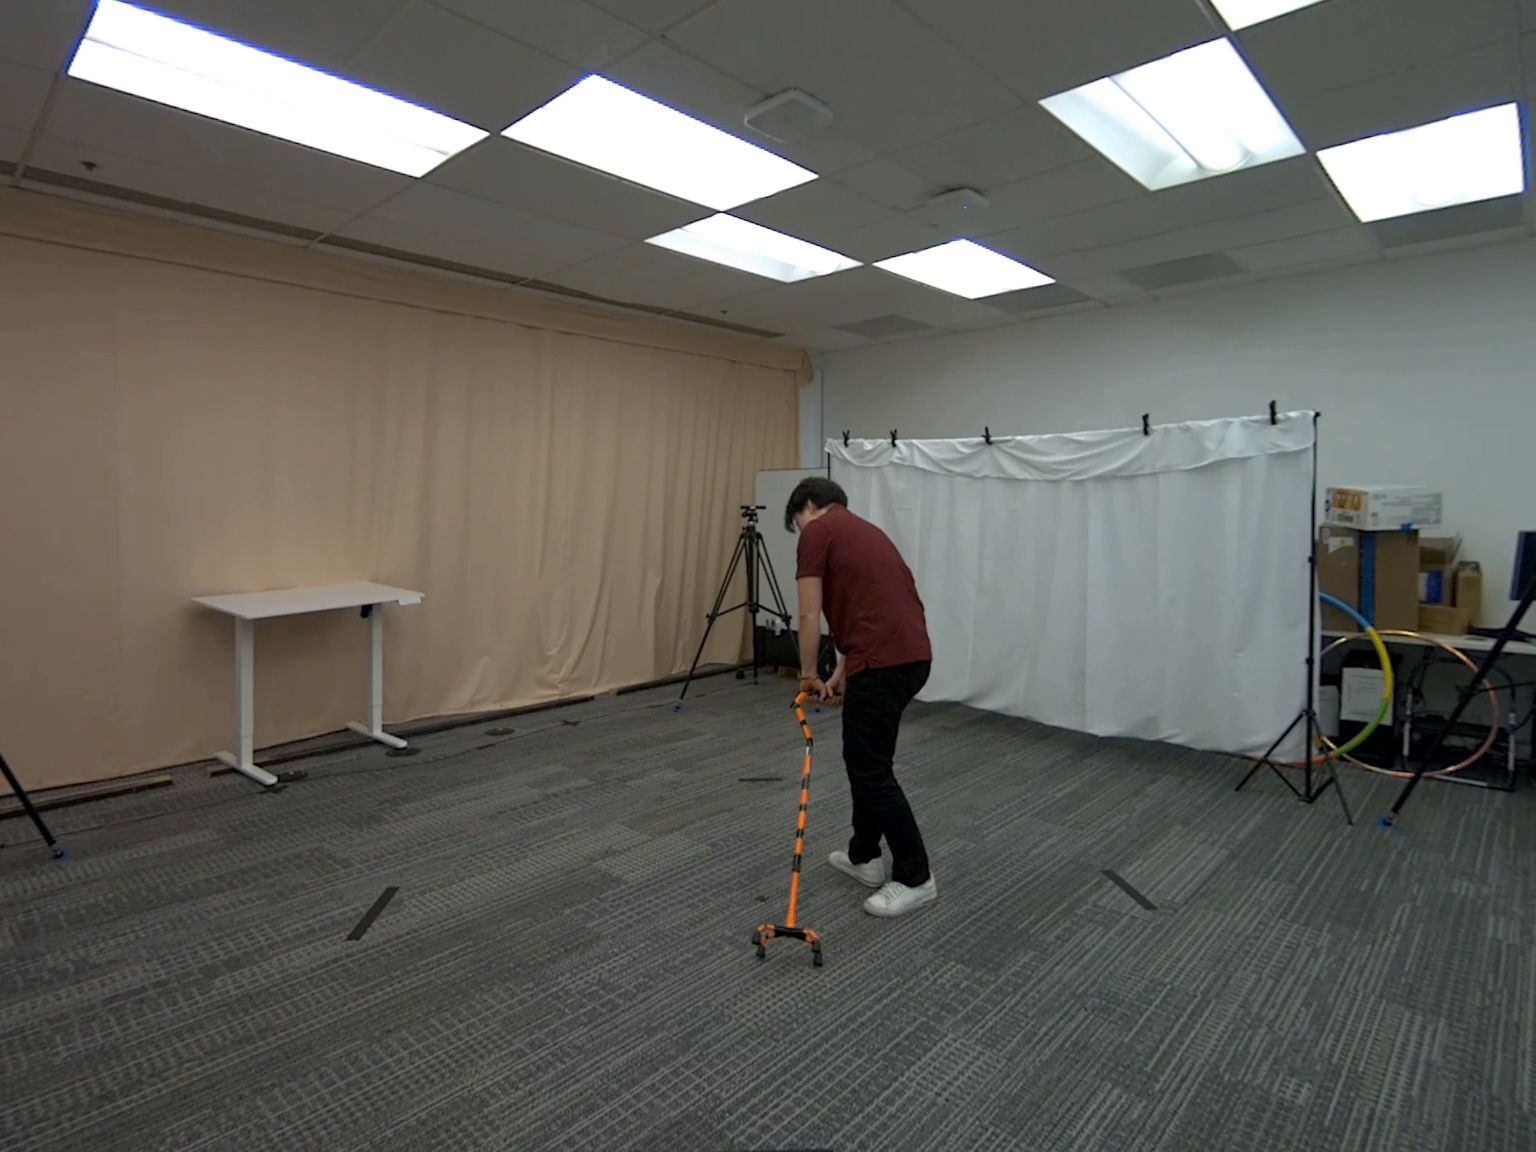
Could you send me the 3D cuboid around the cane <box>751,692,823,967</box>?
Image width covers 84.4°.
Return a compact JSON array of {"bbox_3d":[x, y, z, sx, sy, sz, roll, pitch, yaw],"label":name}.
[{"bbox_3d":[0.122,0.782,2.802,0.208,0.919,0.148,2,-40,8],"label":"cane"}]
